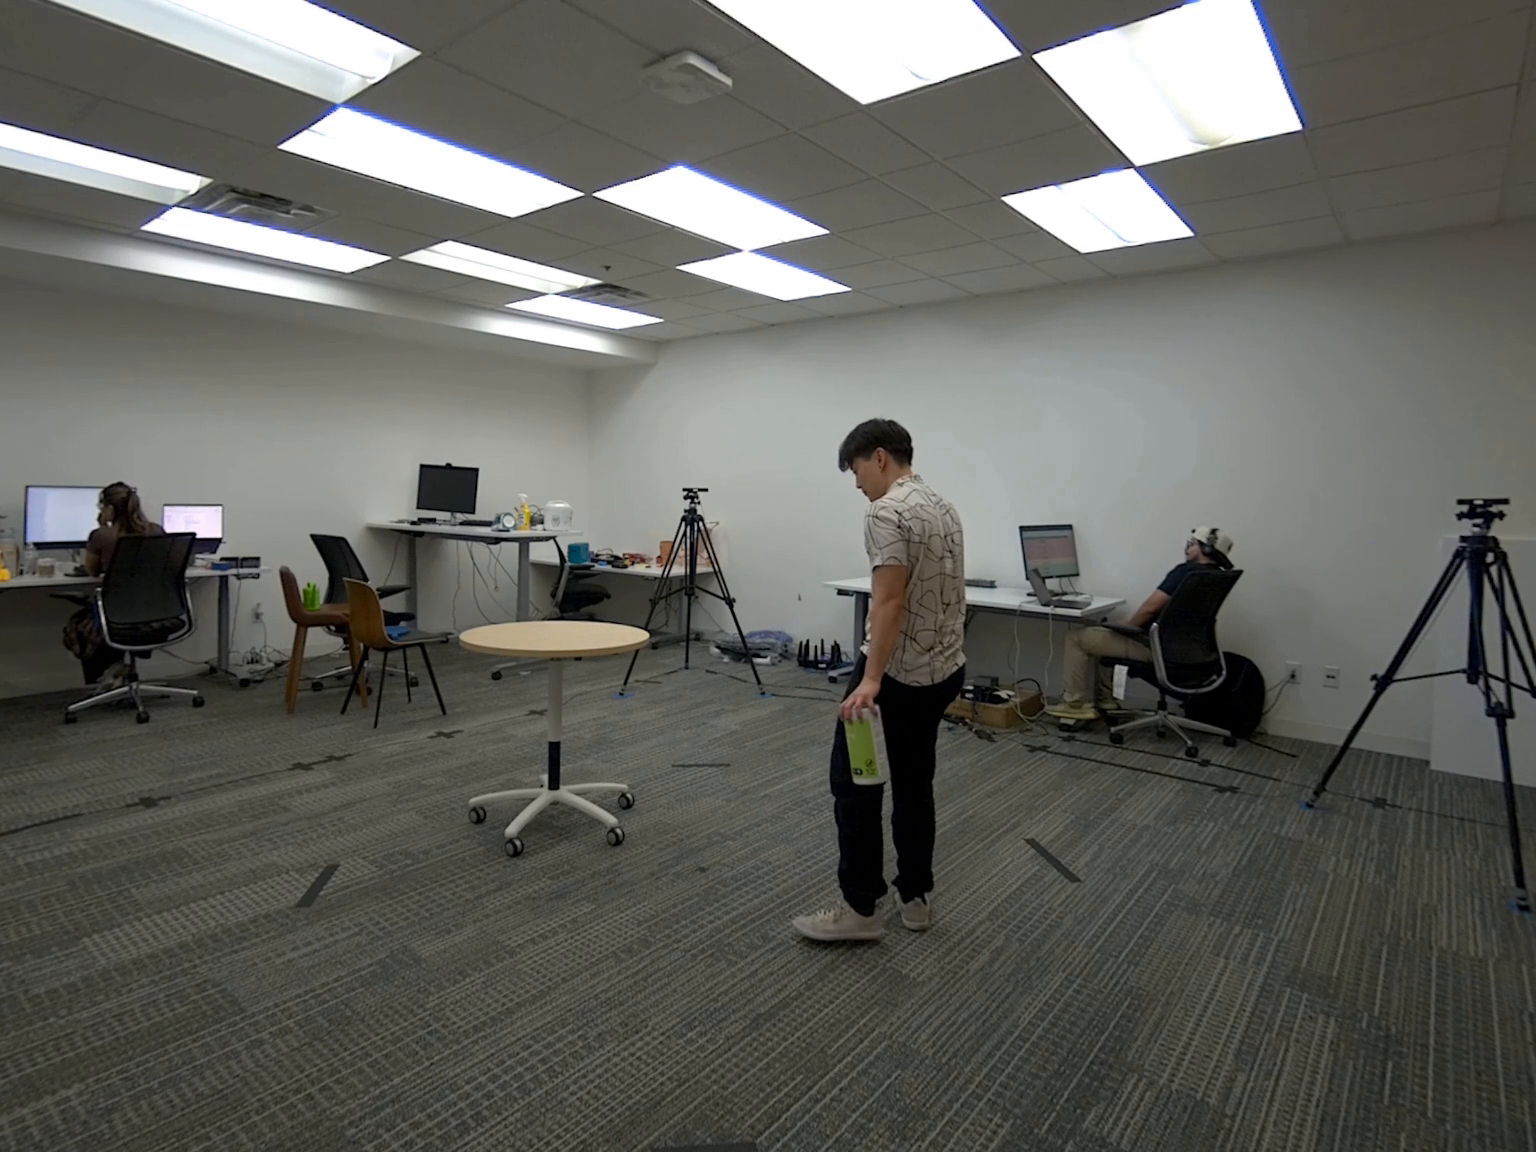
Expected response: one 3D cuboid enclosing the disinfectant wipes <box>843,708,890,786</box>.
[{"bbox_3d":[0.276,0.488,2.479,0.117,0.218,0.117,-5,-4,-2],"label":"disinfectant wipes"}]
